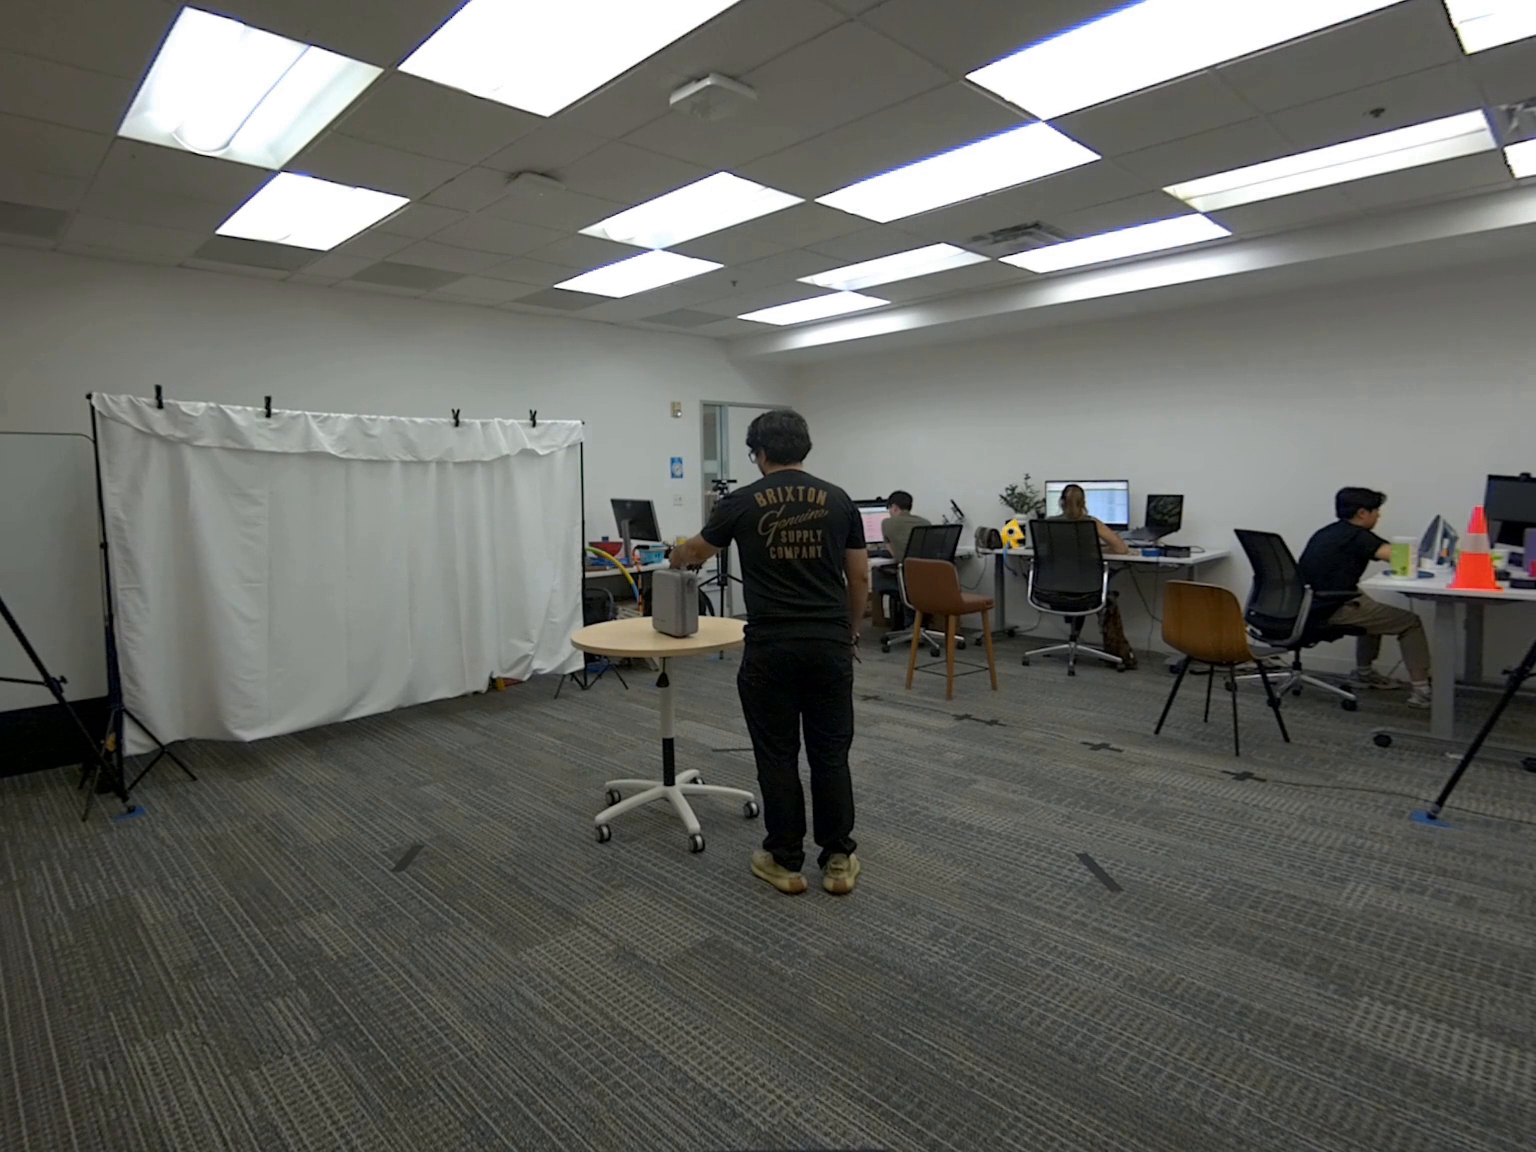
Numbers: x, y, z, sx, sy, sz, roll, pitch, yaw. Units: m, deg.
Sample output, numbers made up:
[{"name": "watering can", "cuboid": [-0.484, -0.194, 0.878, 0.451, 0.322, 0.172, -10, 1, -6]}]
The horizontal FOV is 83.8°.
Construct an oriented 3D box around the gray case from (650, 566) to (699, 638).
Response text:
[{"name": "gray case", "cuboid": [-0.377, 0.098, 3.434, 0.102, 0.260, 0.263, -2, 3, -28]}]
